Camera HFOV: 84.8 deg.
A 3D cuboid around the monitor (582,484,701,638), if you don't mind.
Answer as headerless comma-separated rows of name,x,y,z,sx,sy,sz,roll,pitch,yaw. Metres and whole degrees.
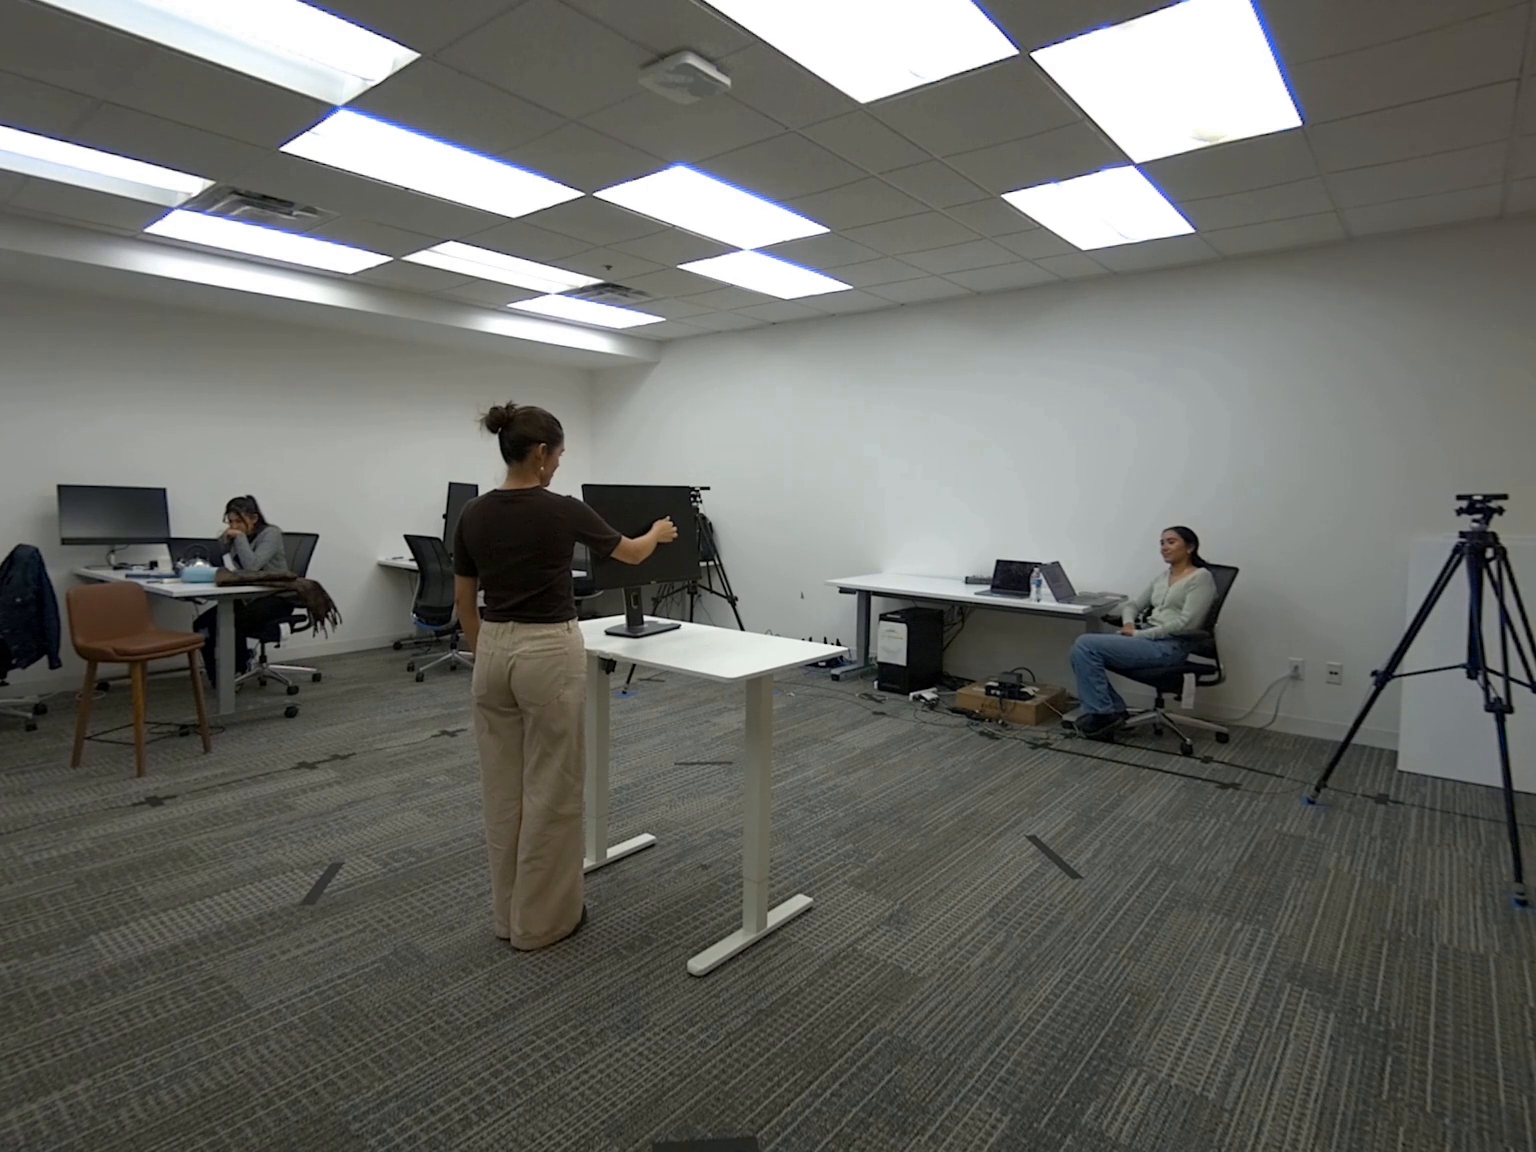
monitor,-0.458,-0.060,2.985,0.193,0.521,0.524,3,5,35
